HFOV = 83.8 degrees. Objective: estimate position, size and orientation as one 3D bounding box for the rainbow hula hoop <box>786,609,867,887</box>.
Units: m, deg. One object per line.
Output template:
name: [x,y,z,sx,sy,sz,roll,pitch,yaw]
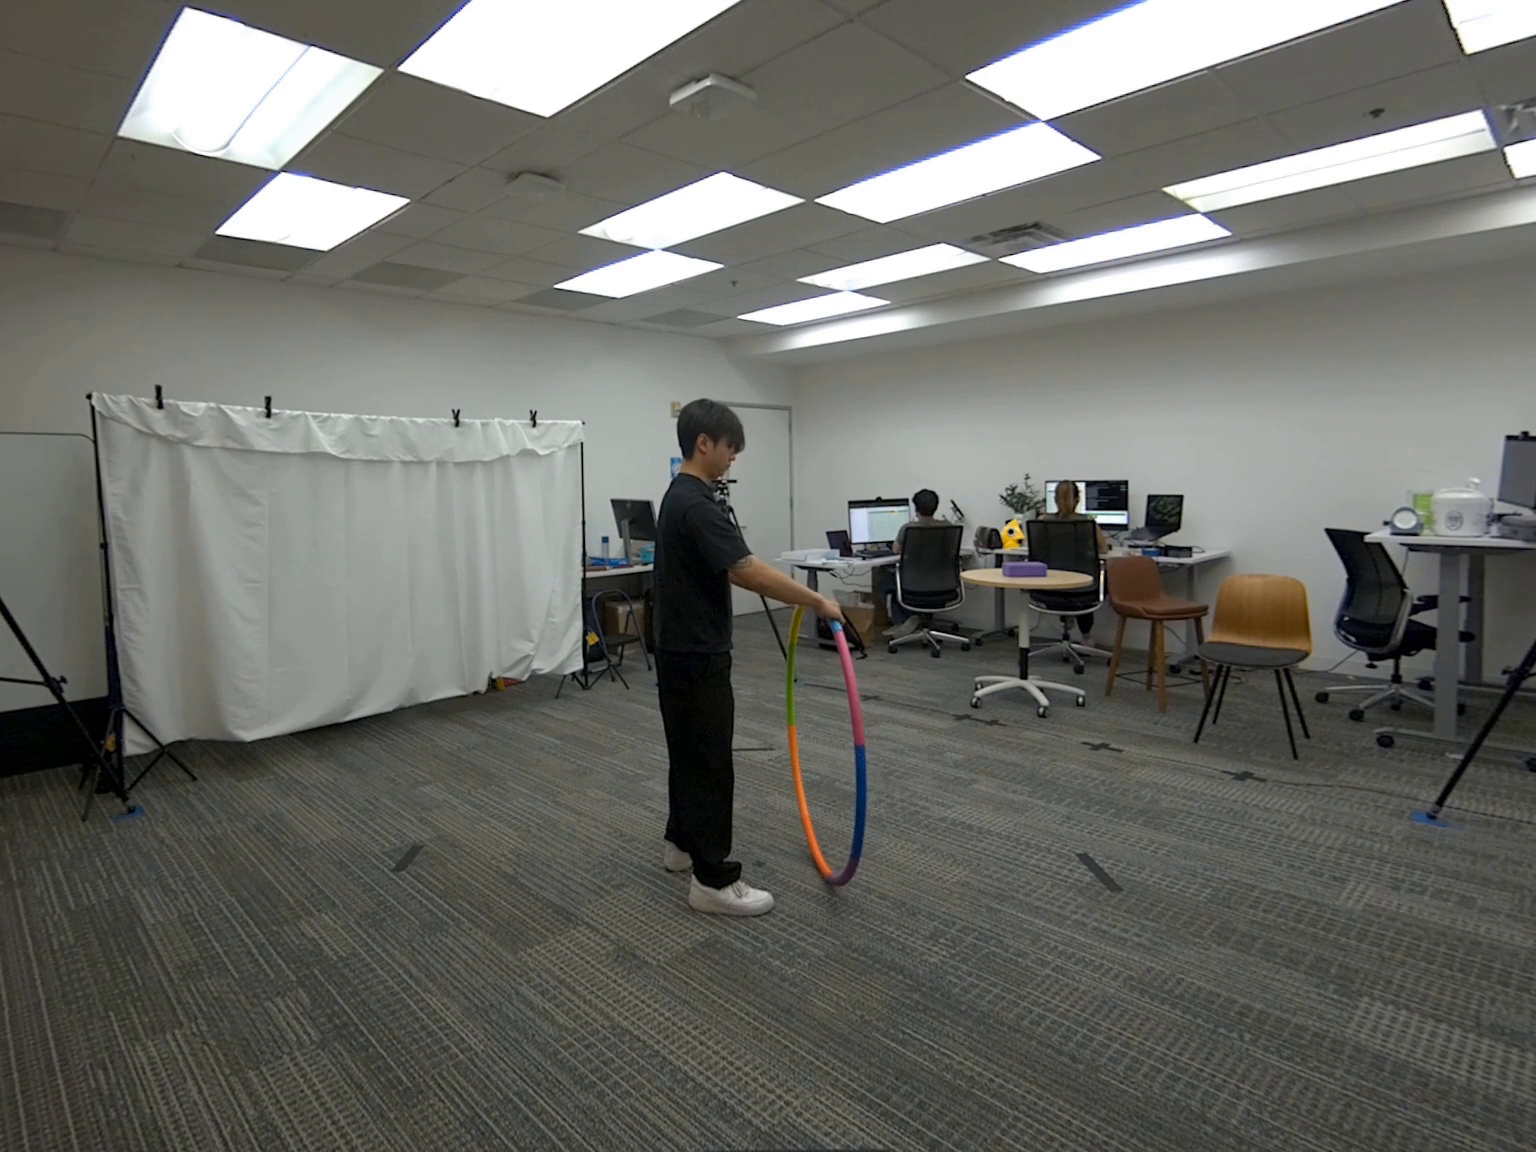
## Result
rainbow hula hoop: [0.186,0.560,3.003,0.035,0.975,0.991,-2,5,-11]
